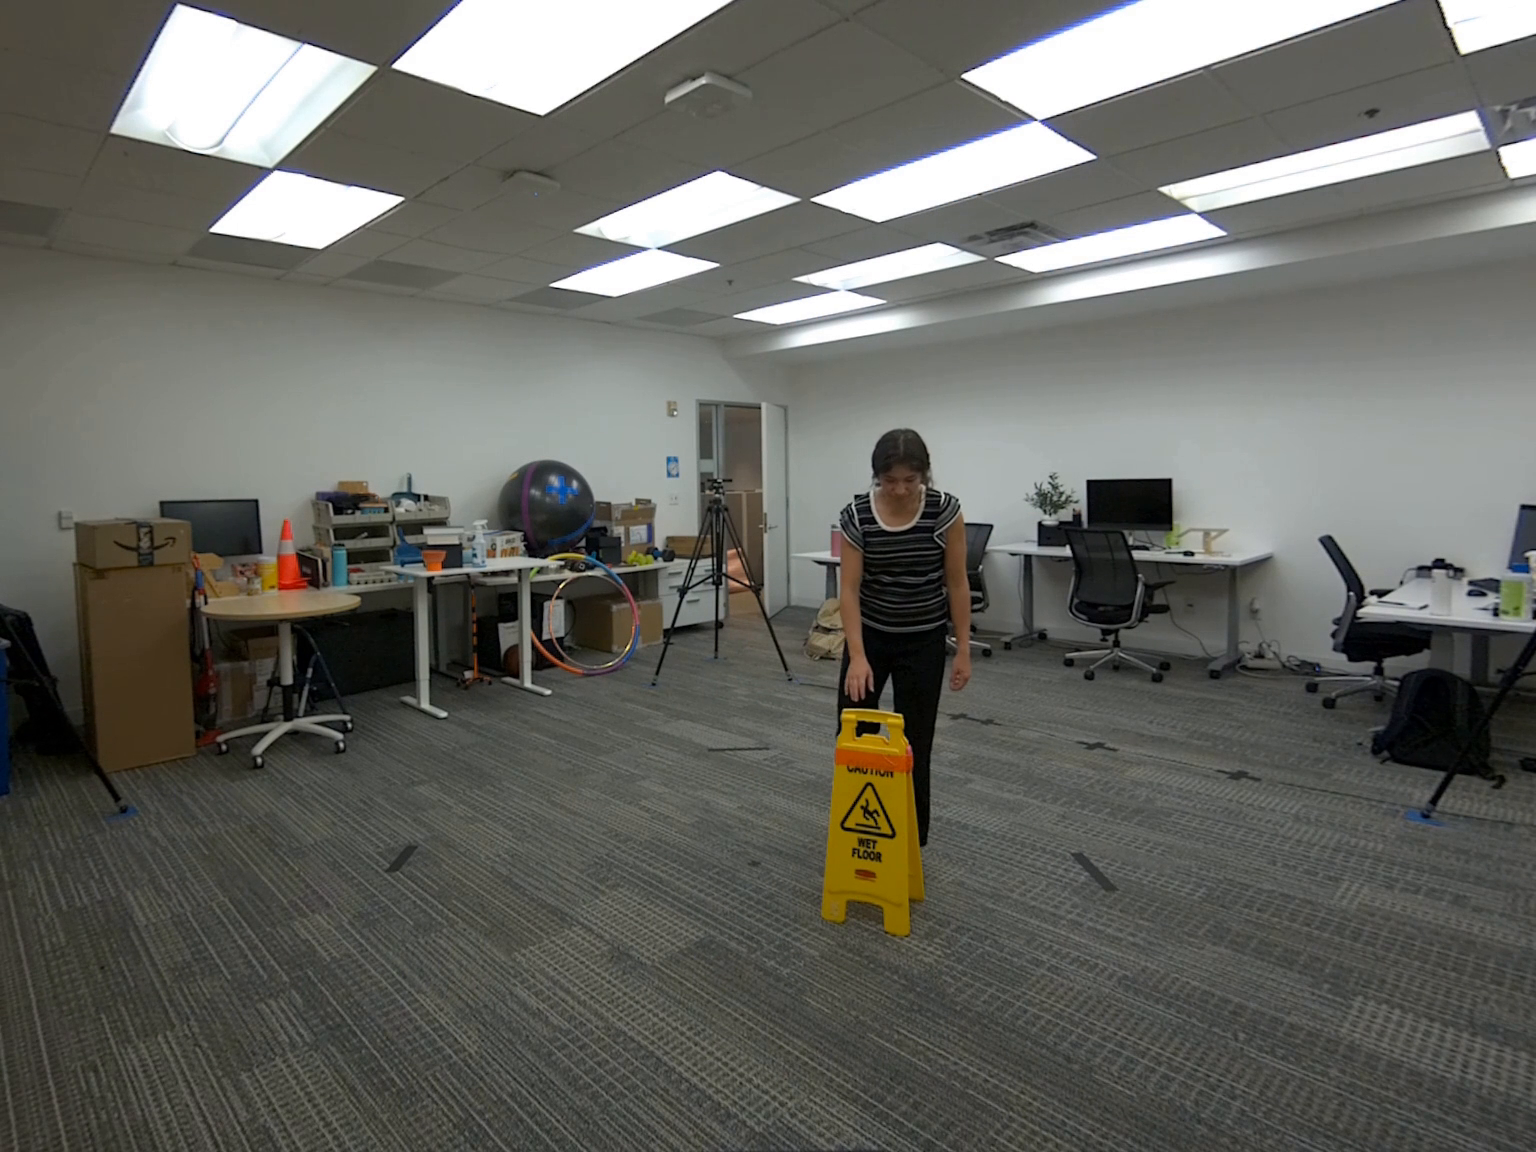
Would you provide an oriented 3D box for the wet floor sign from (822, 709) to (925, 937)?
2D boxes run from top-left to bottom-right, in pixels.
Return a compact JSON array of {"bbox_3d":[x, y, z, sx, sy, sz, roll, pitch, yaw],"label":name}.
[{"bbox_3d":[0.340,0.758,2.736,0.288,0.643,0.285,-1,5,22],"label":"wet floor sign"}]
